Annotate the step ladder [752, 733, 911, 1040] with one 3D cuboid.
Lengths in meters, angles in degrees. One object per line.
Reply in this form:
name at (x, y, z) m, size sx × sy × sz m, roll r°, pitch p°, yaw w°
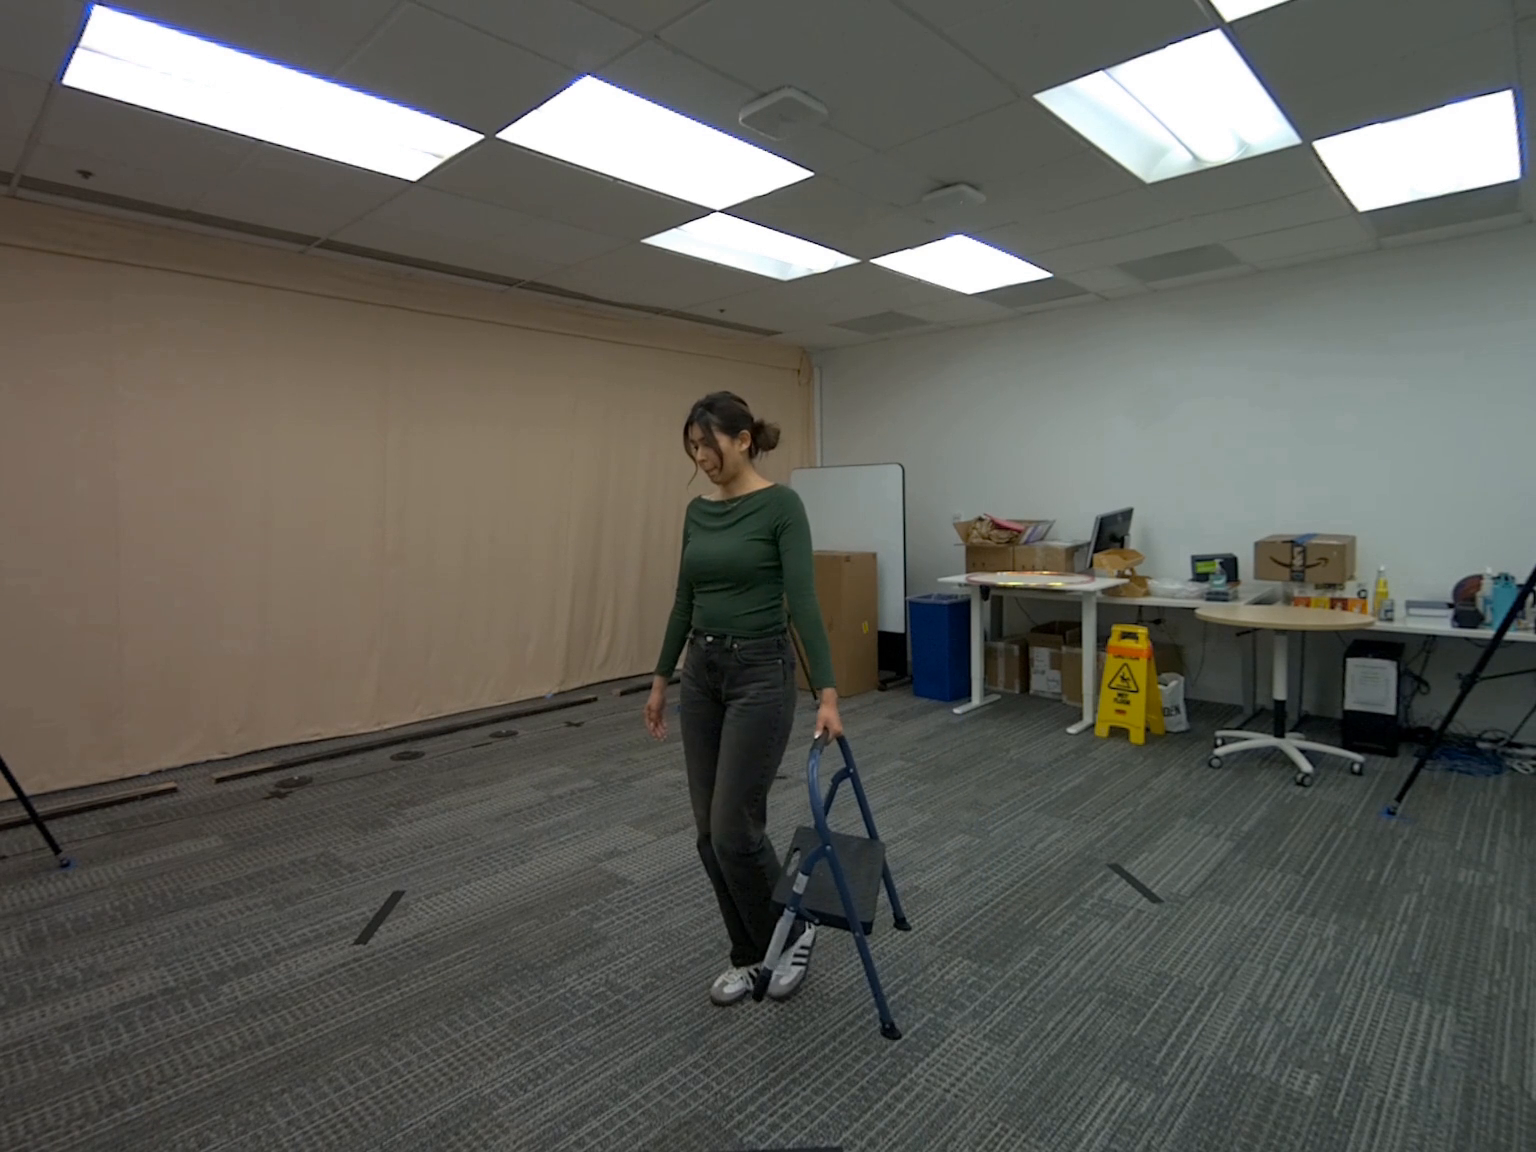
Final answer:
step ladder at (0.204, 0.702, 2.083) m, size 0.355 × 0.602 × 0.426 m, roll 6°, pitch 13°, yaw 14°
